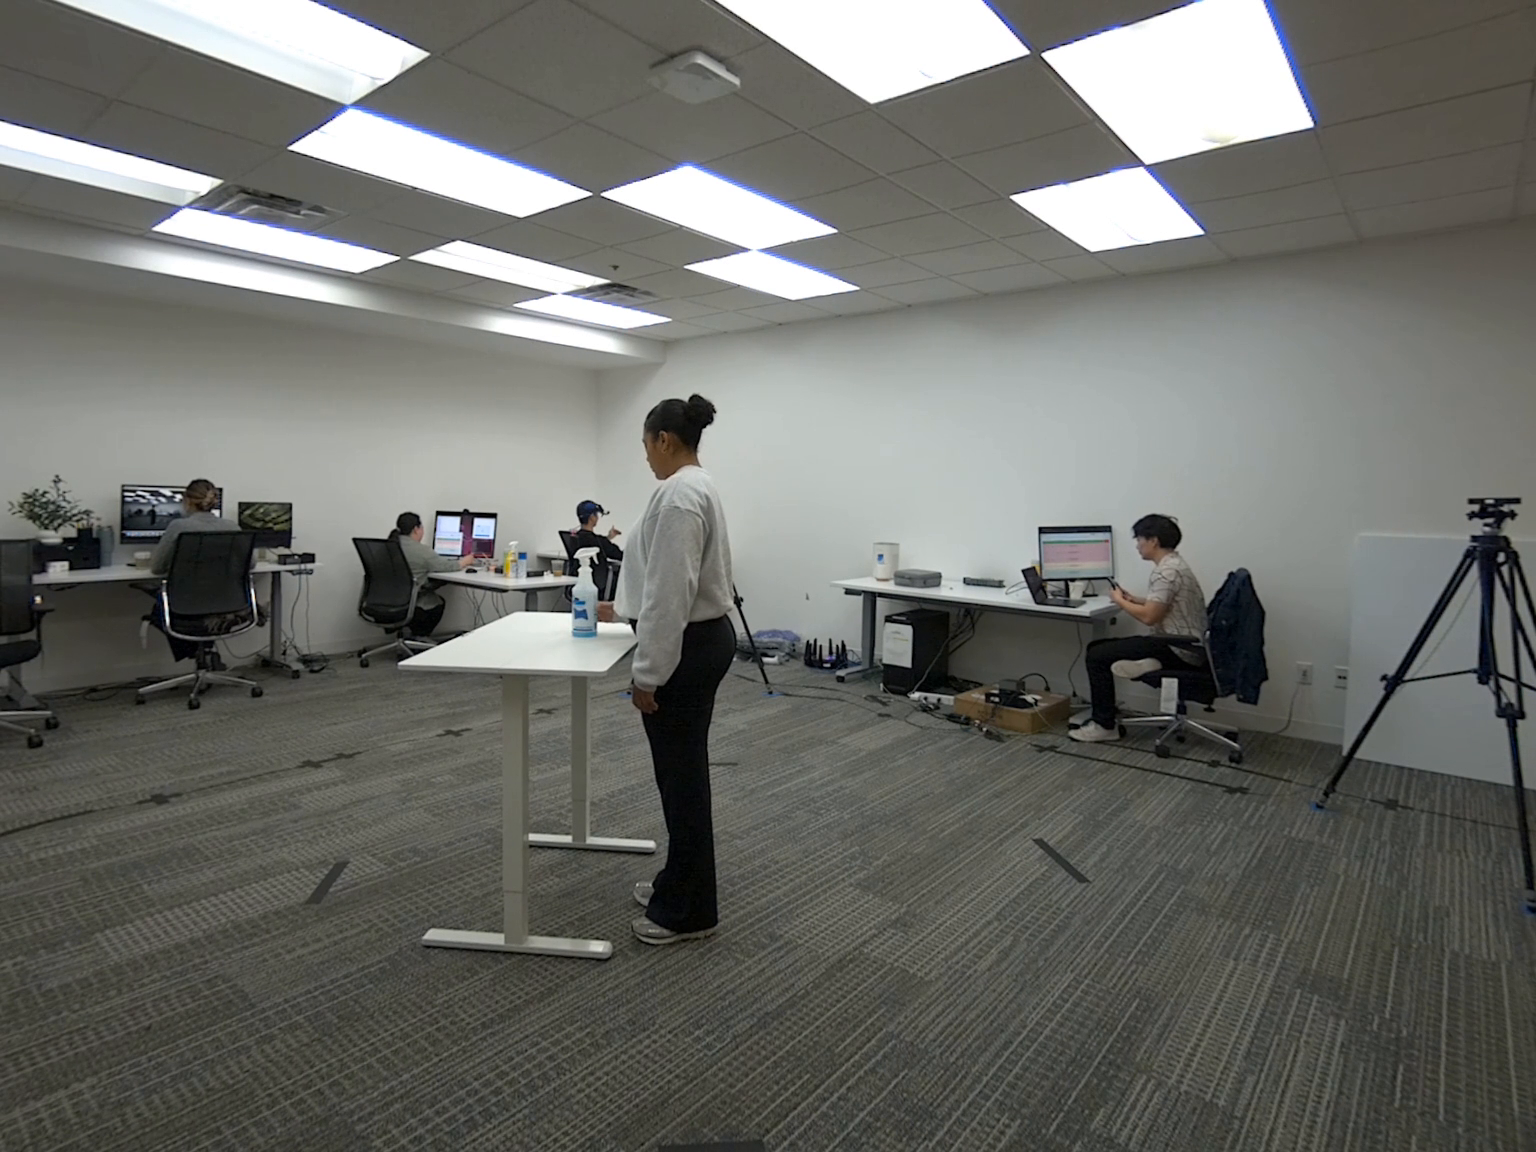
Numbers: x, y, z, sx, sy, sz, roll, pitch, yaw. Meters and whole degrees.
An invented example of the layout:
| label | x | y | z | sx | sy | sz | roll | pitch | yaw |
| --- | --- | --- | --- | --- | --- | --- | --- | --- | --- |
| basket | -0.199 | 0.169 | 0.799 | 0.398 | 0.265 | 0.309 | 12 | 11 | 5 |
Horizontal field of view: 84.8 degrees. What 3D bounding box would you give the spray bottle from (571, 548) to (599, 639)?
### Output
| label | x | y | z | sx | sy | sz | roll | pitch | yaw |
| --- | --- | --- | --- | --- | --- | --- | --- | --- | --- |
| spray bottle | -0.632 | 0.051 | 2.882 | 0.089 | 0.296 | 0.088 | 1 | 4 | -11 |
